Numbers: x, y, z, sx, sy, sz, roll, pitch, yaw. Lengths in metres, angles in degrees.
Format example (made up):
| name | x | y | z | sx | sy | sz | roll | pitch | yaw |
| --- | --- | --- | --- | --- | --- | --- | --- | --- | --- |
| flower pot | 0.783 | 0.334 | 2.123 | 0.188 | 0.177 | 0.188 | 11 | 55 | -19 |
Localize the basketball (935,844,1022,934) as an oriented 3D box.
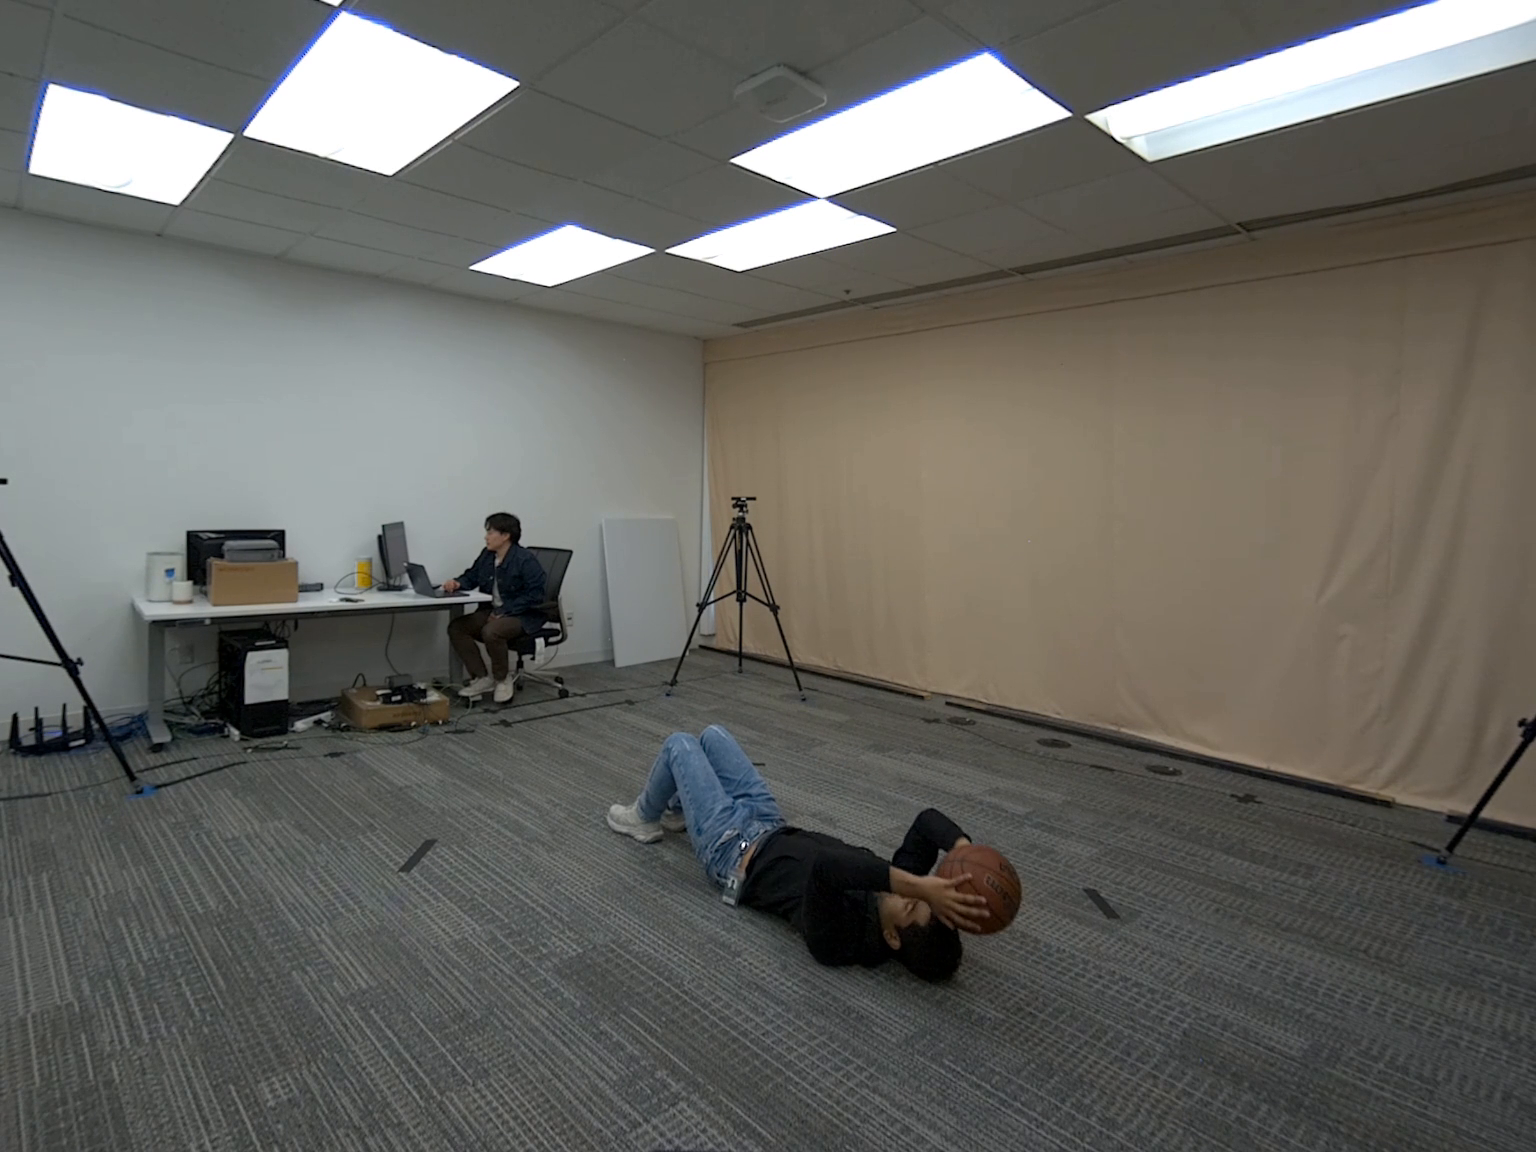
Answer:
| name | x | y | z | sx | sy | sz | roll | pitch | yaw |
| --- | --- | --- | --- | --- | --- | --- | --- | --- | --- |
| basketball | 0.564 | 0.868 | 2.389 | 0.236 | 0.235 | 0.237 | 1 | 4 | -1 |
